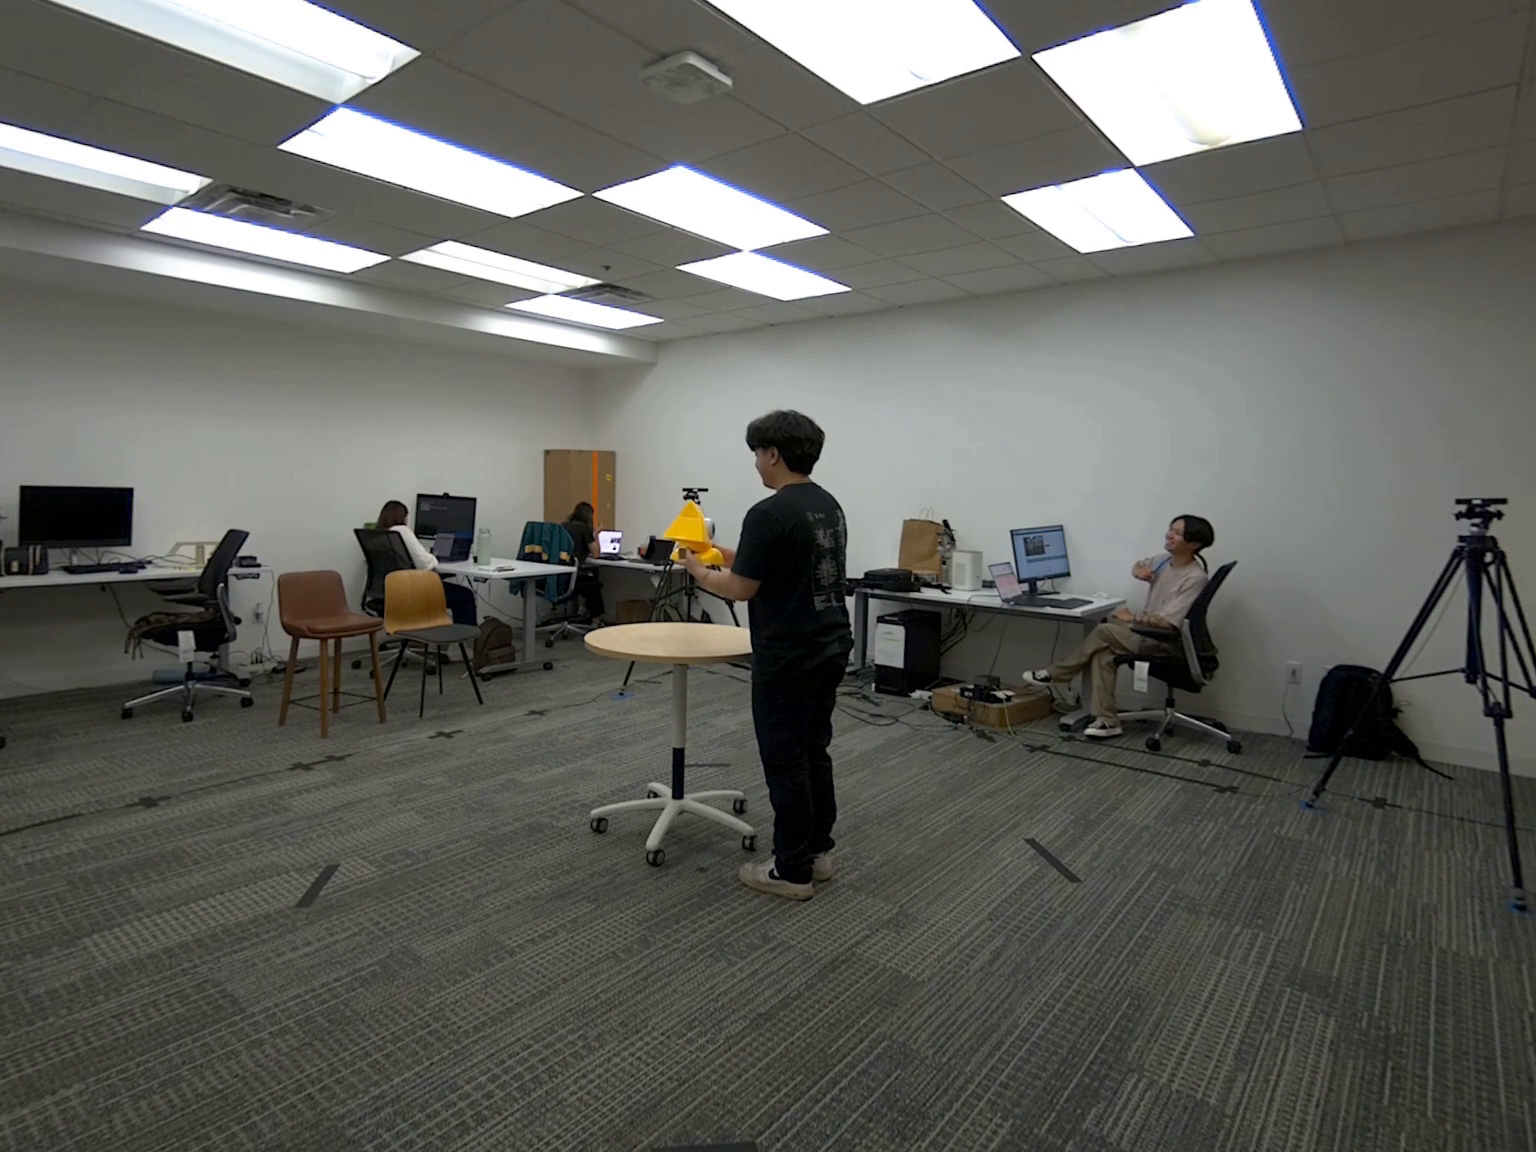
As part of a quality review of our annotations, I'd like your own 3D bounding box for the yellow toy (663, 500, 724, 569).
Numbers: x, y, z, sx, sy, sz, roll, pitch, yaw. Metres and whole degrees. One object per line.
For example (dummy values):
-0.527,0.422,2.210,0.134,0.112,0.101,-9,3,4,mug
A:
-0.275,-0.170,3.220,0.212,0.231,0.186,5,-1,38,yellow toy
